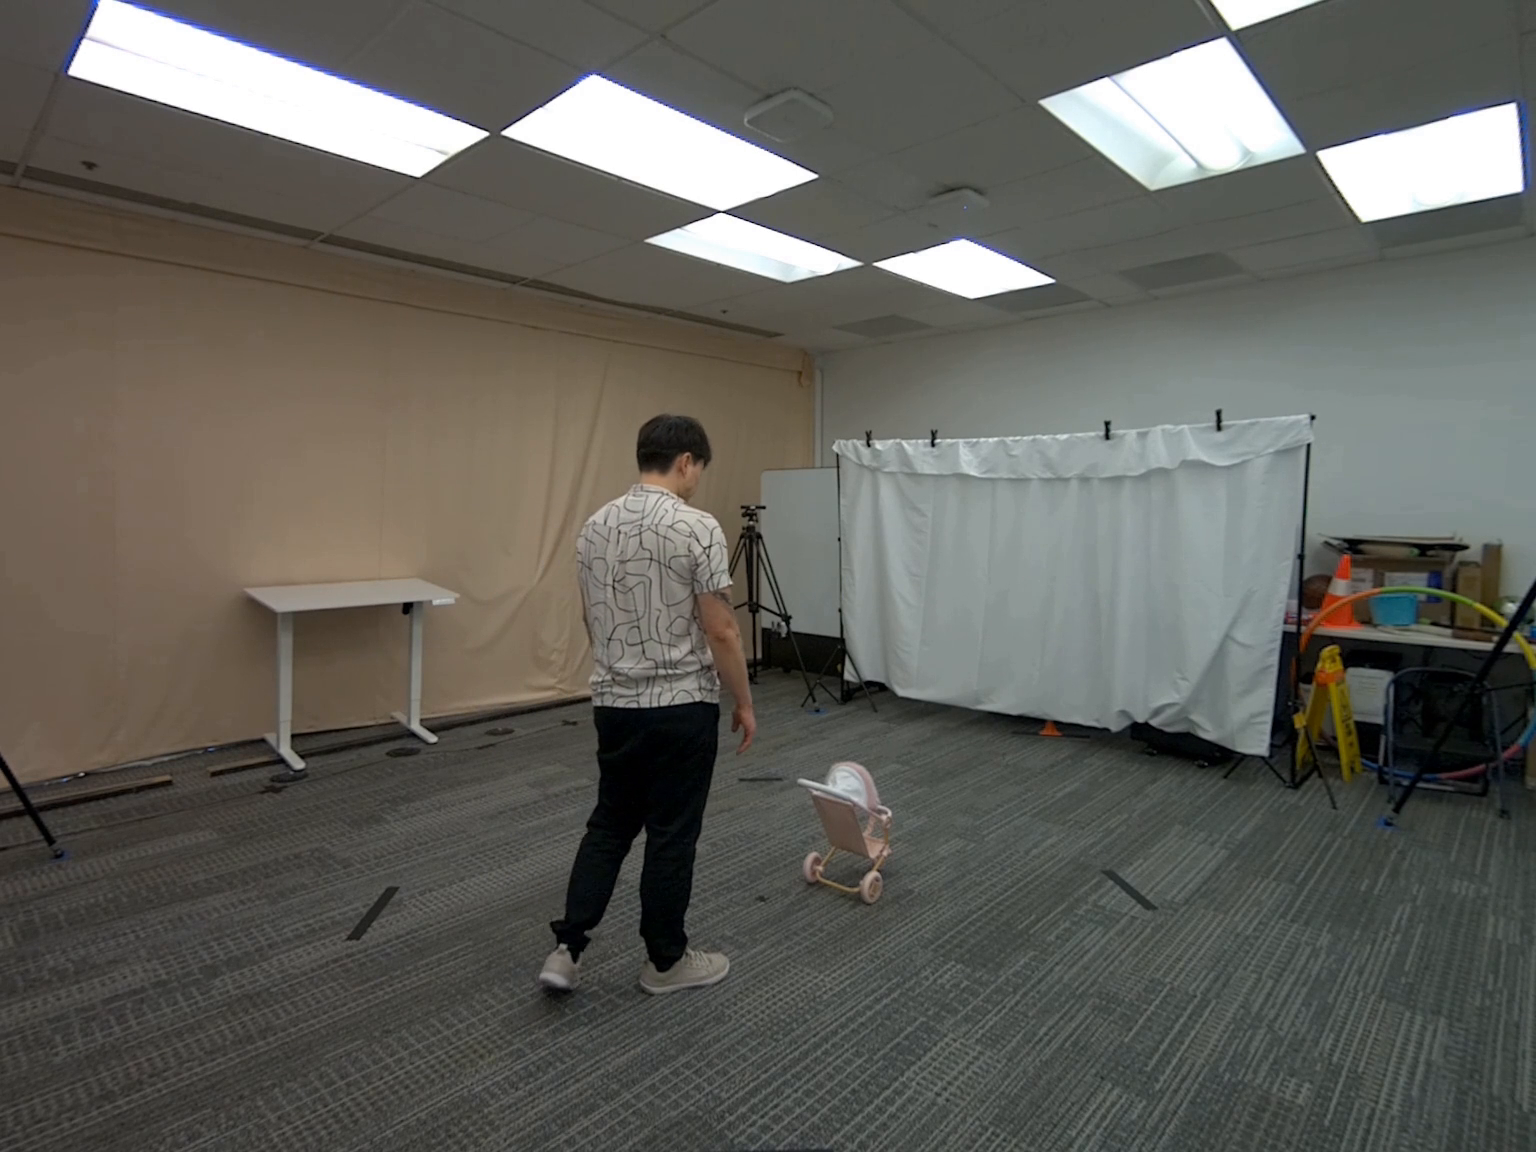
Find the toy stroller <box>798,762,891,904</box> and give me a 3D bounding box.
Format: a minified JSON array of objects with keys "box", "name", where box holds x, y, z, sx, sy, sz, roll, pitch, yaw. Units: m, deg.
[{"box":[0.311,0.911,3.067,0.291,0.529,0.334,4,20,43],"name":"toy stroller"}]
